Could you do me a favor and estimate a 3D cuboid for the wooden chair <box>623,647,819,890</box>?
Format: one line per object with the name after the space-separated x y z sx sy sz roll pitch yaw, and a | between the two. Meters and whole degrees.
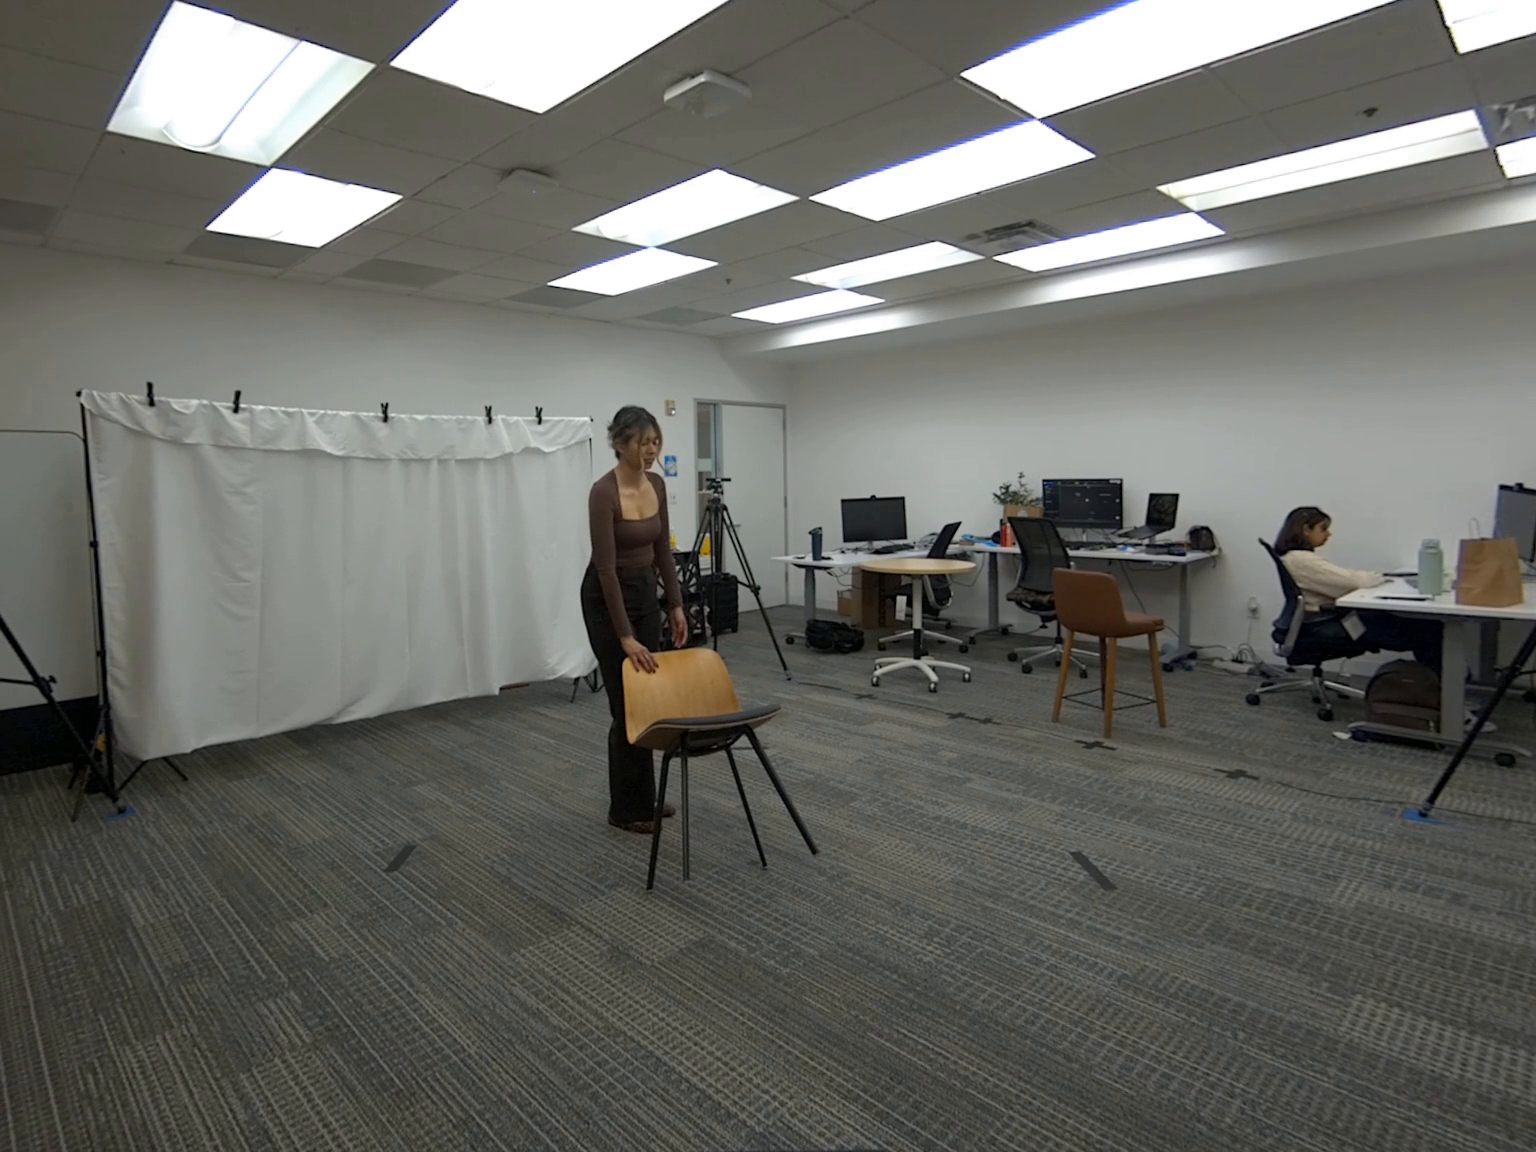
-0.210 0.577 2.944 0.469 0.900 0.520 -3 -27 -23 | wooden chair
